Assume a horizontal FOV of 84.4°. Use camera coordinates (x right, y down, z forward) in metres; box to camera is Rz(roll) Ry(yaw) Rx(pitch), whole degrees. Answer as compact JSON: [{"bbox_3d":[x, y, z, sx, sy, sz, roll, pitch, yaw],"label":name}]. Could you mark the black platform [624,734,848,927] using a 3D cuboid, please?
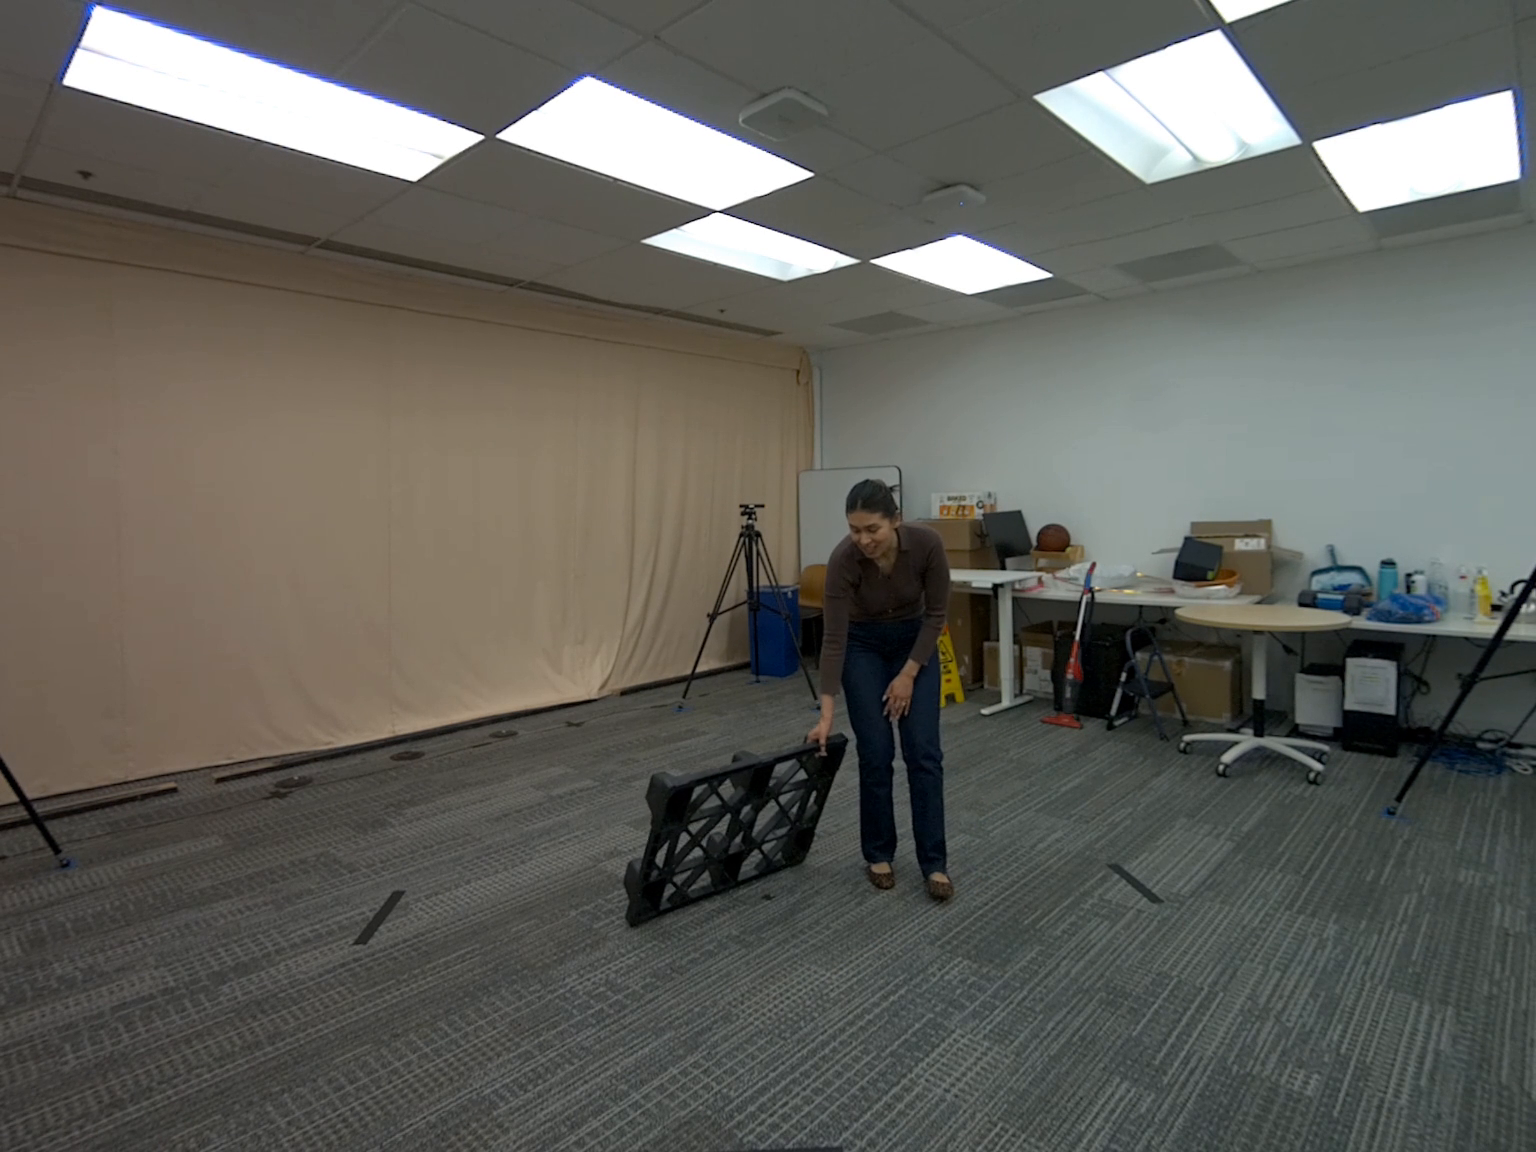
[{"bbox_3d":[-0.118,0.852,2.951,0.782,0.601,0.148,-5,31,-38],"label":"black platform"}]
